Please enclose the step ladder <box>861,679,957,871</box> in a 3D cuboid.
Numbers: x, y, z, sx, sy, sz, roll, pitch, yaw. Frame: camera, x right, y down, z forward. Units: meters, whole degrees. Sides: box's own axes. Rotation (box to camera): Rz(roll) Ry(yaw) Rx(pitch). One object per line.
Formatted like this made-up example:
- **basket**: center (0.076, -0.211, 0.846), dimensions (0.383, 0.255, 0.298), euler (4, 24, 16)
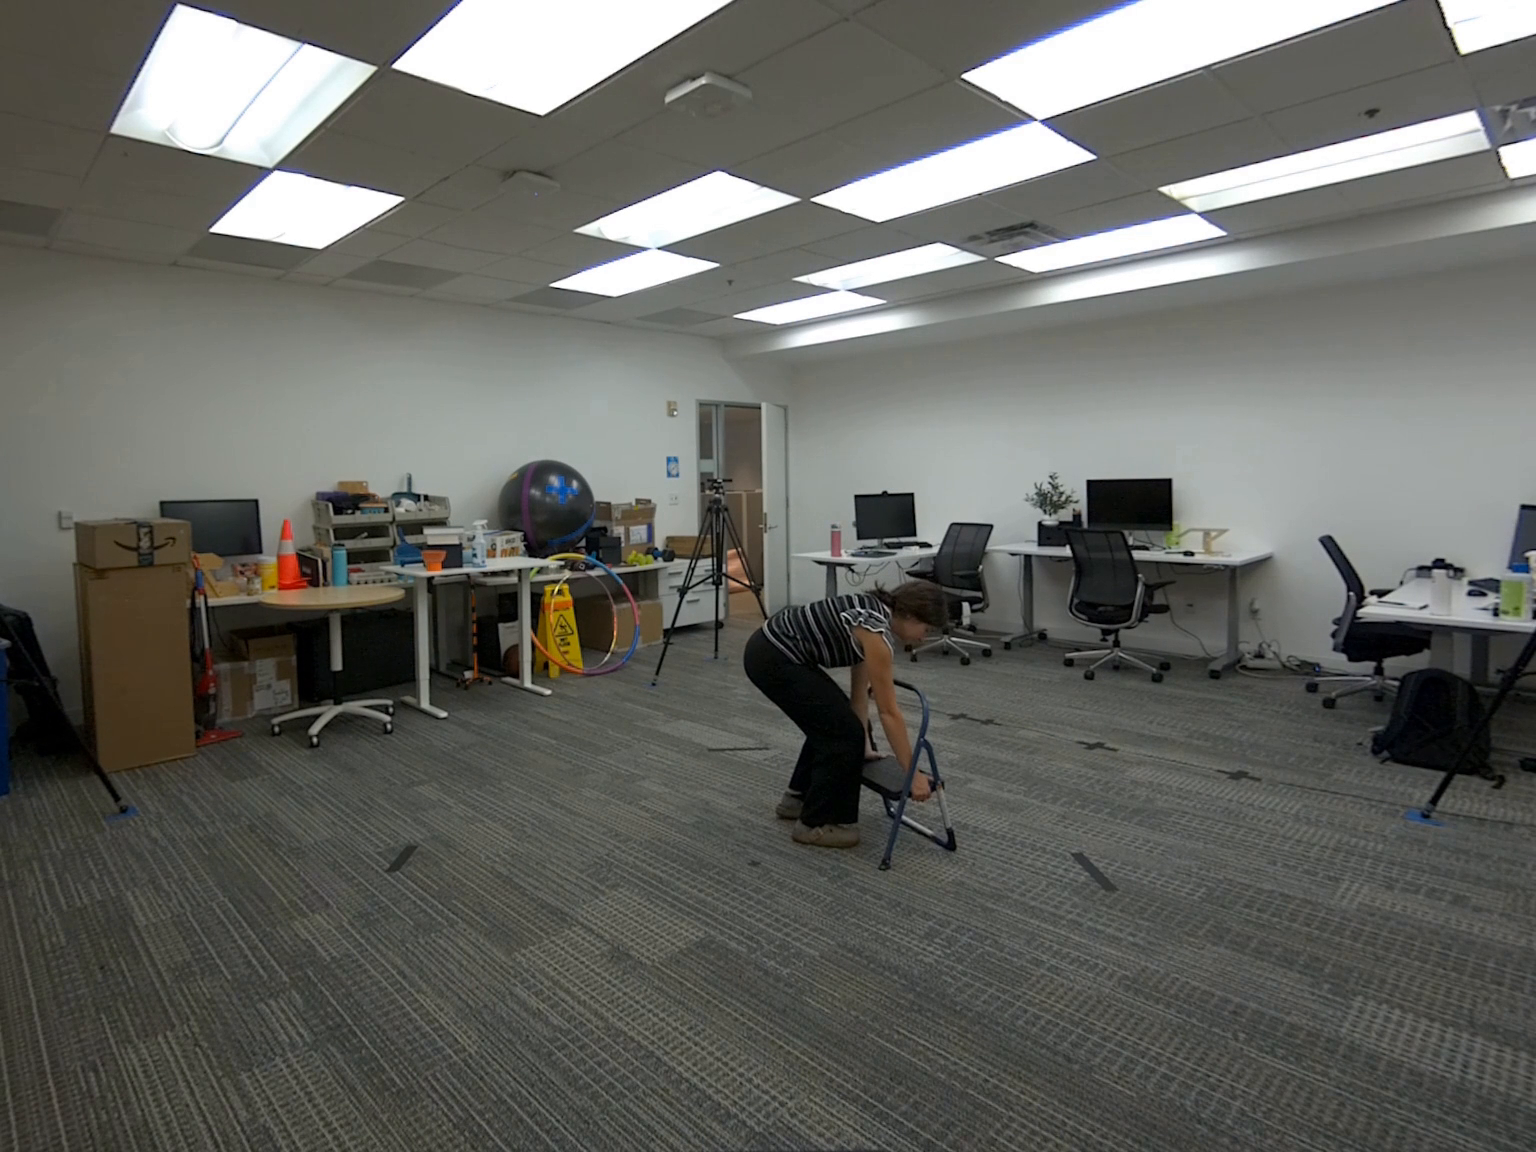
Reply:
- **step ladder**: center (0.454, 0.712, 3.273), dimensions (0.341, 0.604, 0.442), euler (-3, 5, -28)
